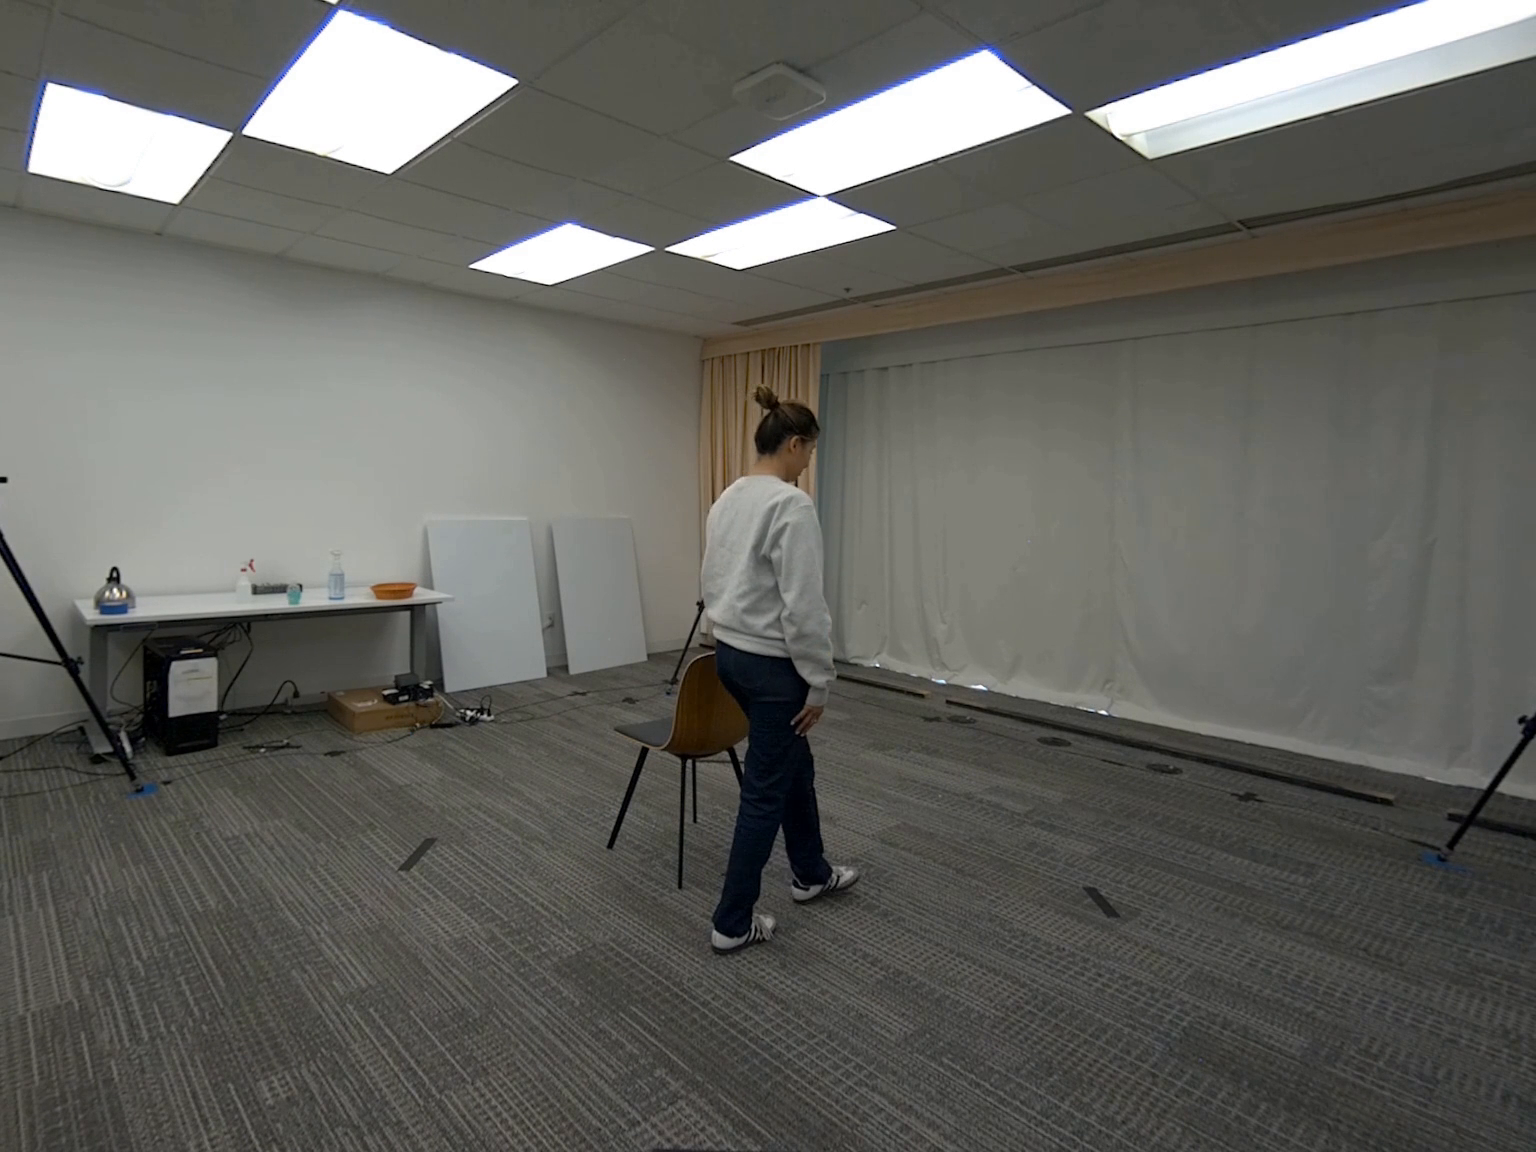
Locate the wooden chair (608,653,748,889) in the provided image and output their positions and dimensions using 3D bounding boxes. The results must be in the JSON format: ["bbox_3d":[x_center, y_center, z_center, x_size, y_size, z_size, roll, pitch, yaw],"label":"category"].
[{"bbox_3d":[-0.316,0.656,3.263,0.467,0.873,0.538,-2,10,-43],"label":"wooden chair"}]
